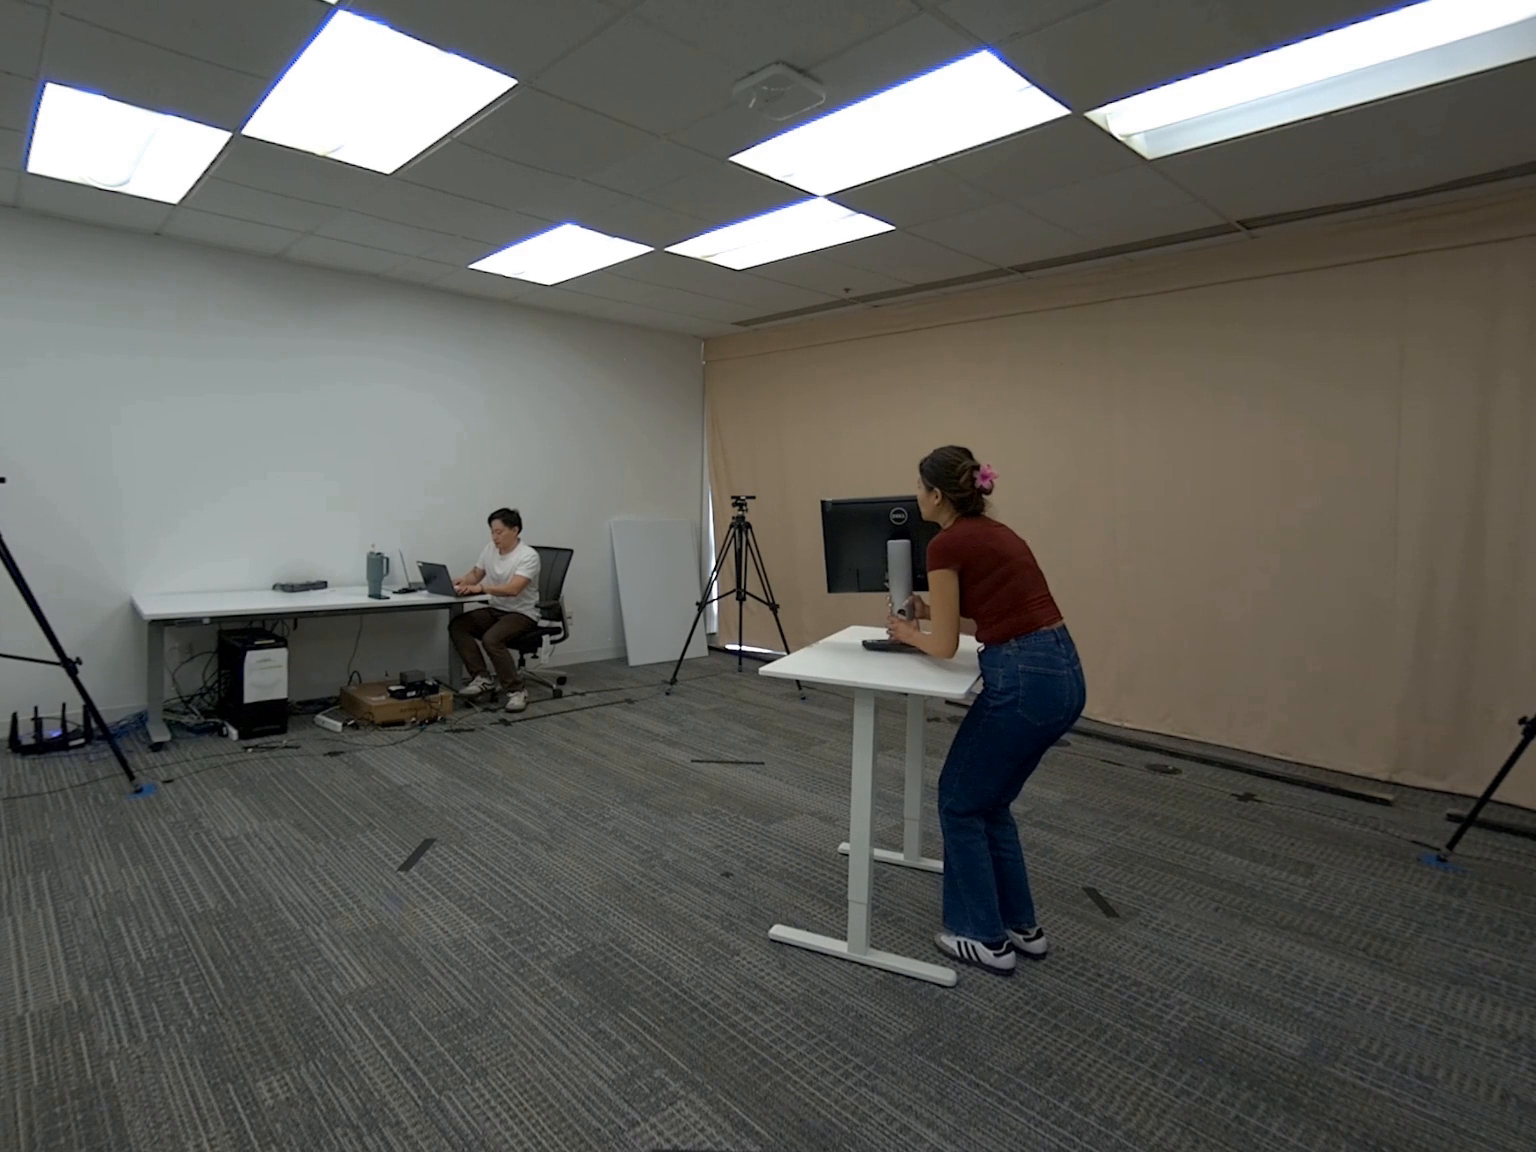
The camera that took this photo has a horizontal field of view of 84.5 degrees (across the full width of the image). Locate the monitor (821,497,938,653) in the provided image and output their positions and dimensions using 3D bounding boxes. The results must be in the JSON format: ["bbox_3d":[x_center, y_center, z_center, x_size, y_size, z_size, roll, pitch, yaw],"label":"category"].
[{"bbox_3d":[0.454,-0.017,2.885,0.544,0.521,0.185,-2,2,13],"label":"monitor"}]
